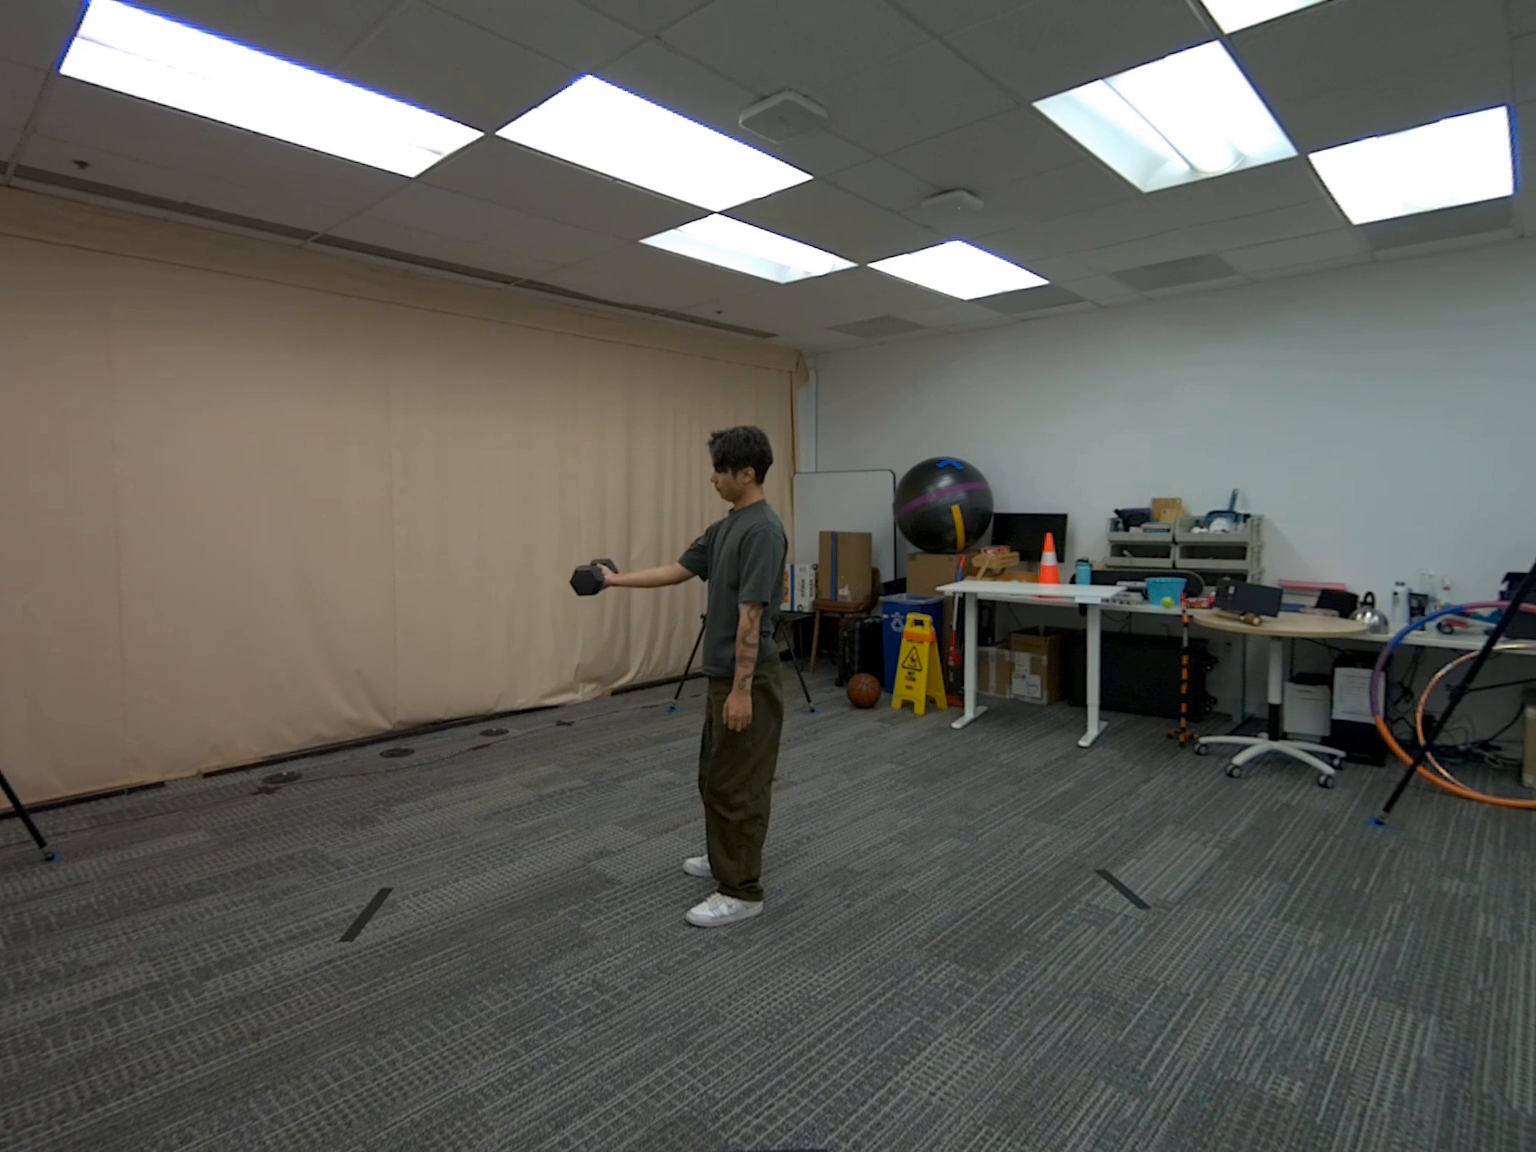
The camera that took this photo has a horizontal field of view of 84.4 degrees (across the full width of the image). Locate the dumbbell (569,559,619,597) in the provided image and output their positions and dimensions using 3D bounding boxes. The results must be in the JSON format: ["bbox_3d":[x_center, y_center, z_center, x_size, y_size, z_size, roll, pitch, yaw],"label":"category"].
[{"bbox_3d":[-0.655,0.006,3.215,0.109,0.122,0.293,-32,4,8],"label":"dumbbell"}]
